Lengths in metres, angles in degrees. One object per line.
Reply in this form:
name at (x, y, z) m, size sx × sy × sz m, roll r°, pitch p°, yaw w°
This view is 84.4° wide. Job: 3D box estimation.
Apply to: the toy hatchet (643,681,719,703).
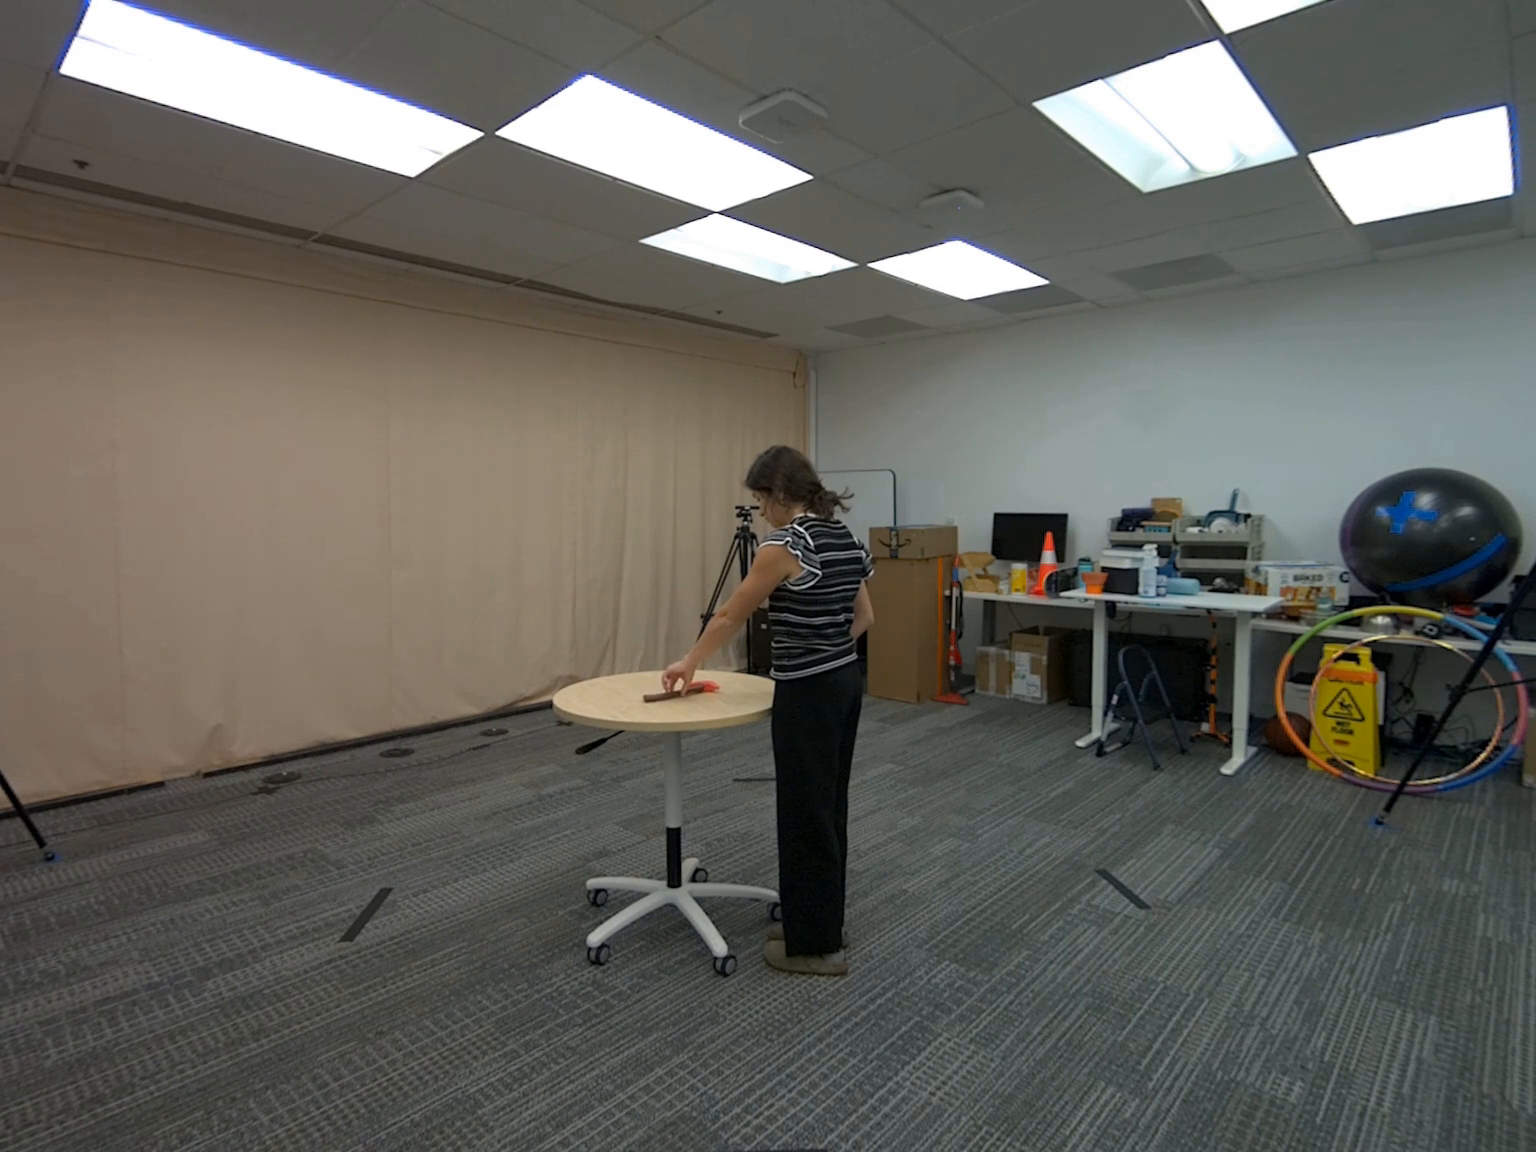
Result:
toy hatchet at (-0.303, 0.374, 2.722) m, size 0.263 × 0.029 × 0.135 m, roll -4°, pitch 5°, yaw -30°
